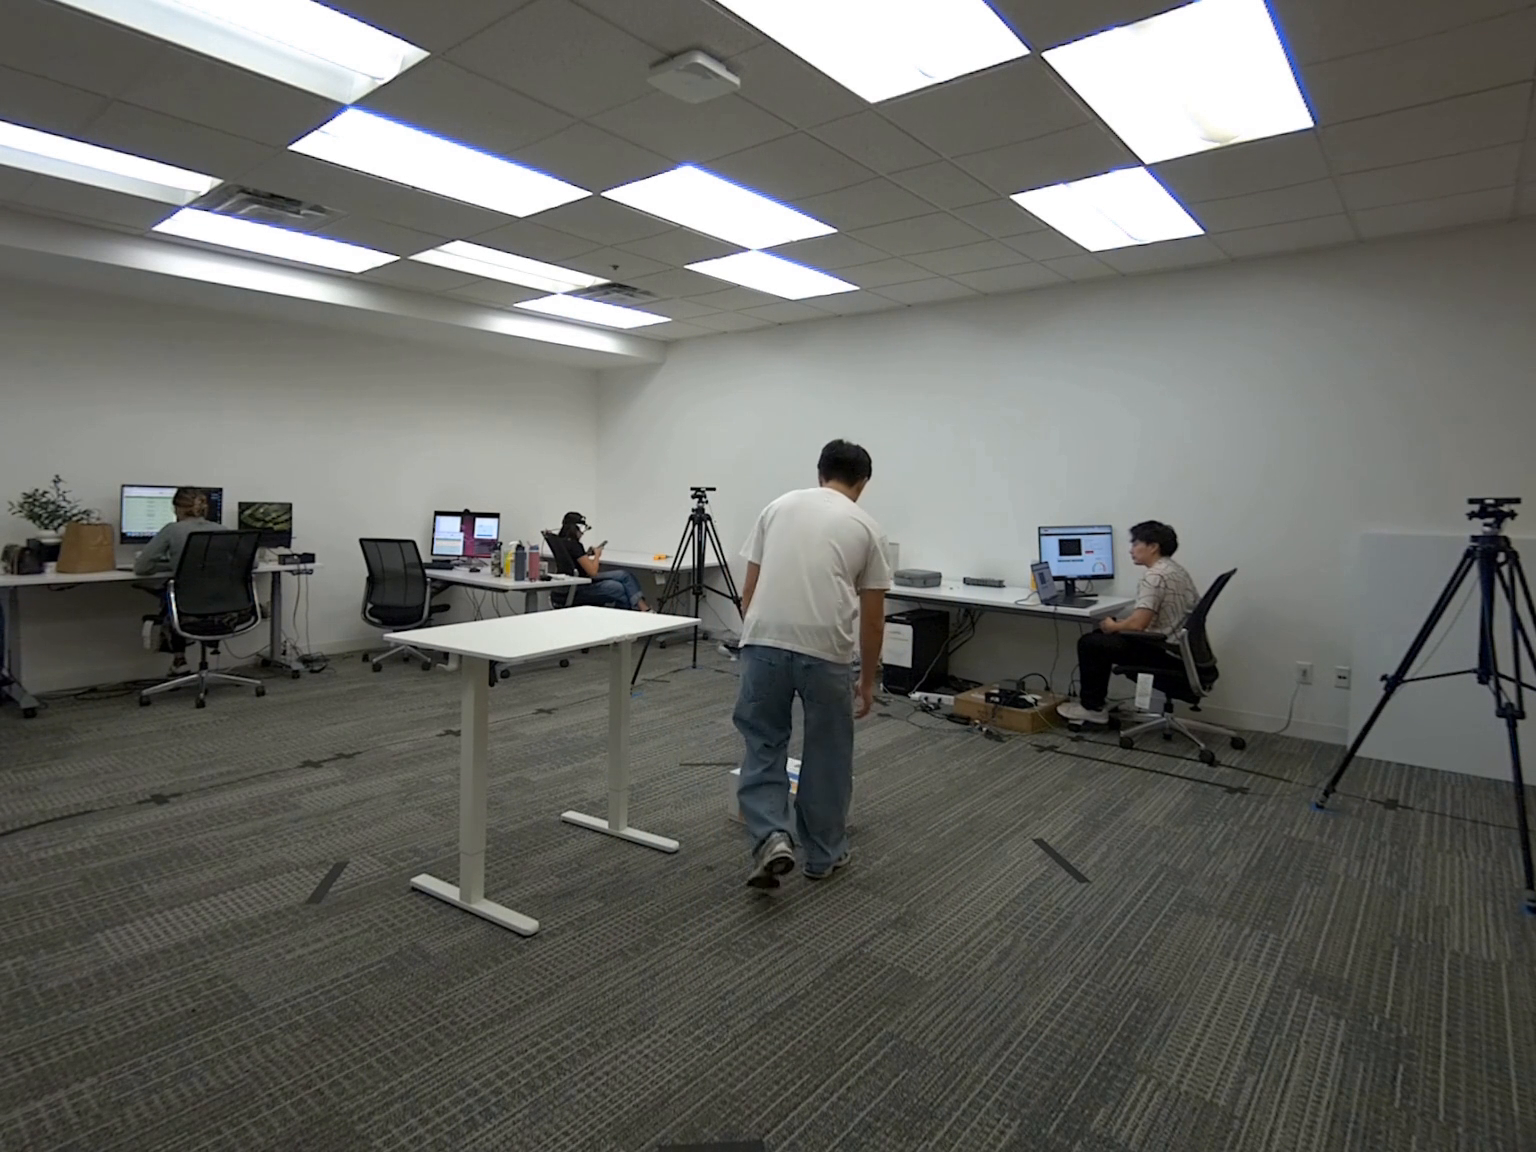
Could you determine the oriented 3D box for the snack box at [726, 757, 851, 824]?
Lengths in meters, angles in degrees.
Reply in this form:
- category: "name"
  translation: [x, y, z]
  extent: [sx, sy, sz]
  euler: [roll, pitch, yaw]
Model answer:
- category: "snack box"
  translation: [0.088, 0.921, 3.550]
  extent: [0.419, 0.205, 0.330]
  euler: [6, 7, 43]
